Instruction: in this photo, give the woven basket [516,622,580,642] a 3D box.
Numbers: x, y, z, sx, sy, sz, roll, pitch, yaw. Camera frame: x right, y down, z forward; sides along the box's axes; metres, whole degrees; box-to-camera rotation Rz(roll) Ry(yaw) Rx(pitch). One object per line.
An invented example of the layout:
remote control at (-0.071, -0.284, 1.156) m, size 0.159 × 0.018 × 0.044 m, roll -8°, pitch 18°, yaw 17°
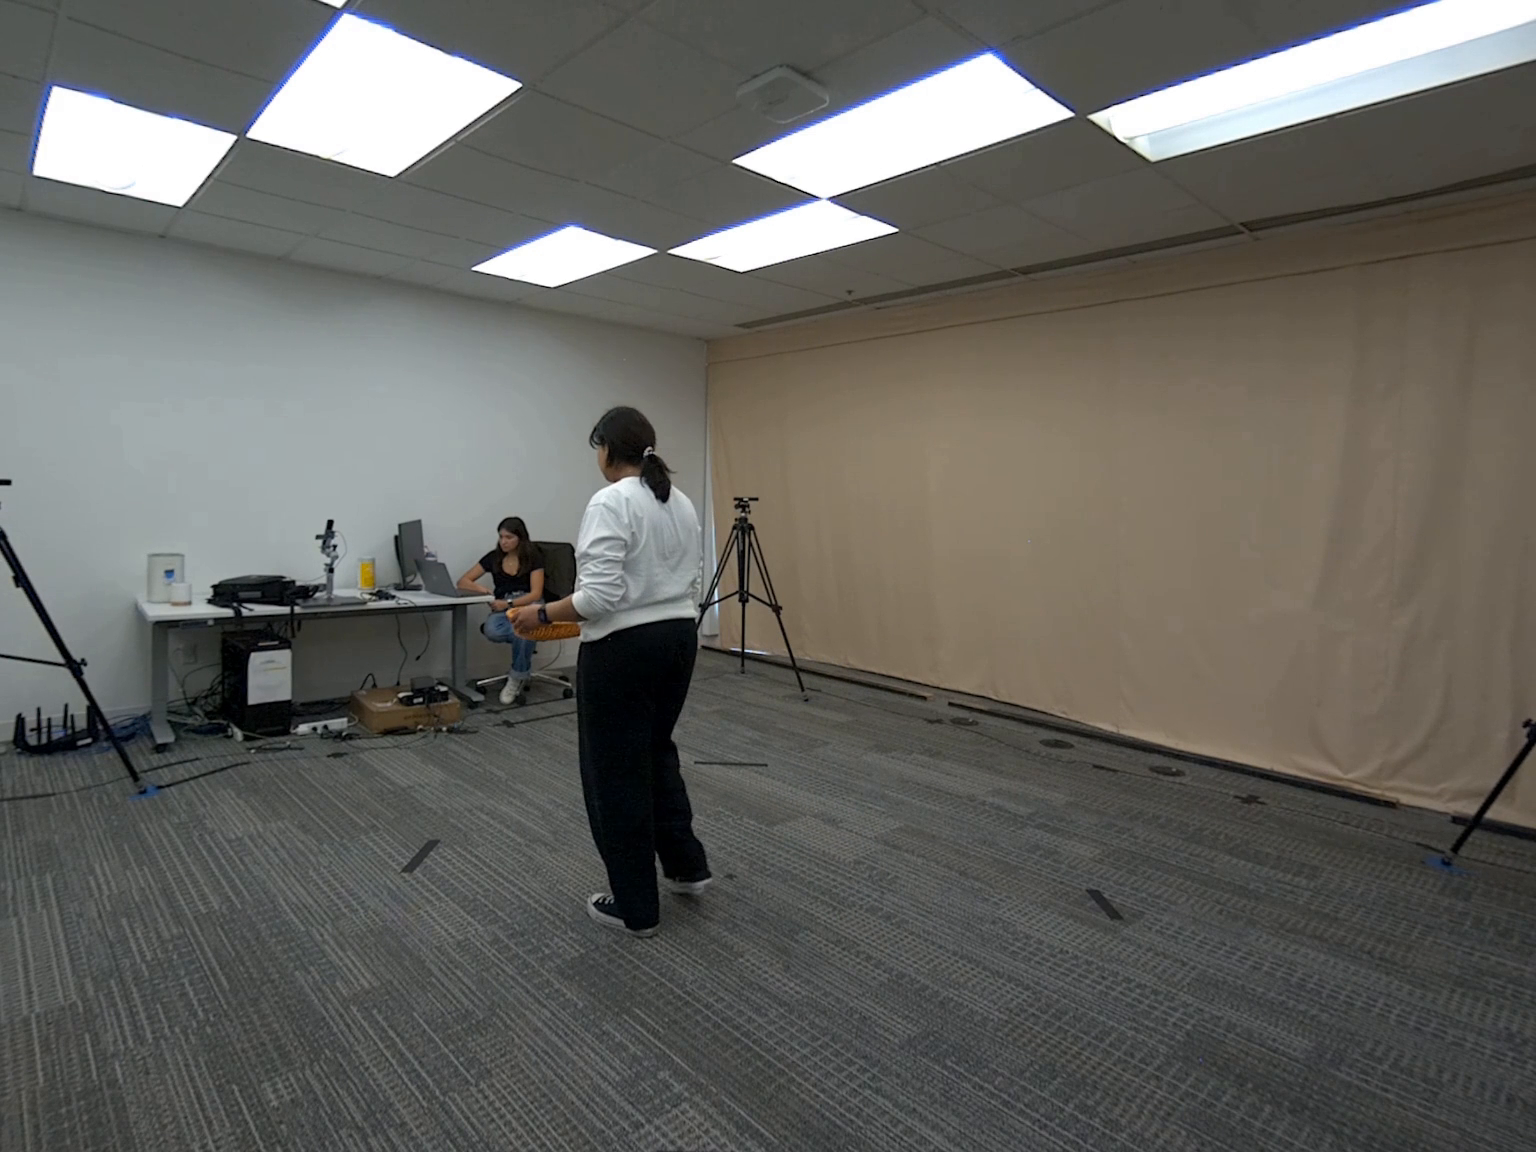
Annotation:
woven basket at (-0.717, 0.172, 2.818) m, size 0.258 × 0.073 × 0.343 m, roll 7°, pitch 6°, yaw 33°
